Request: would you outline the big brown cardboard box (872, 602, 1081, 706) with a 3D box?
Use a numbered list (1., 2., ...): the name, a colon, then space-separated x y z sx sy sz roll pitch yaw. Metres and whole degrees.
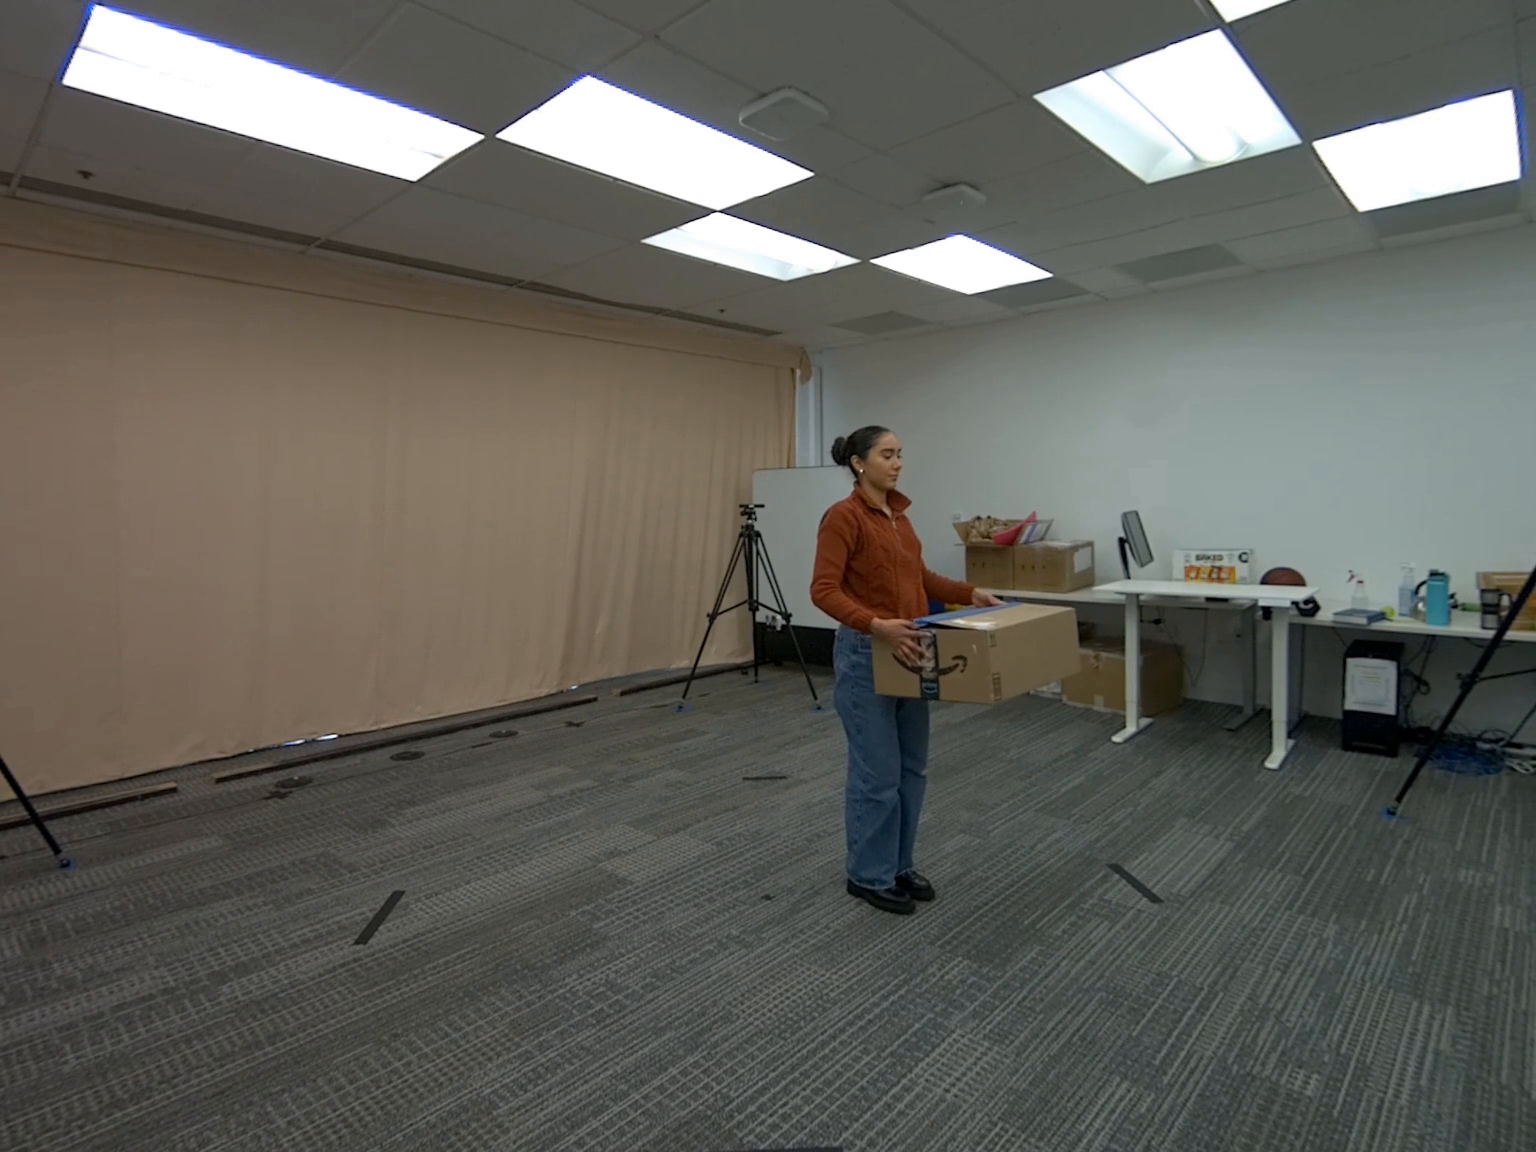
1. big brown cardboard box: 0.680 0.237 2.713 0.571 0.233 0.430 -5 1 -44
